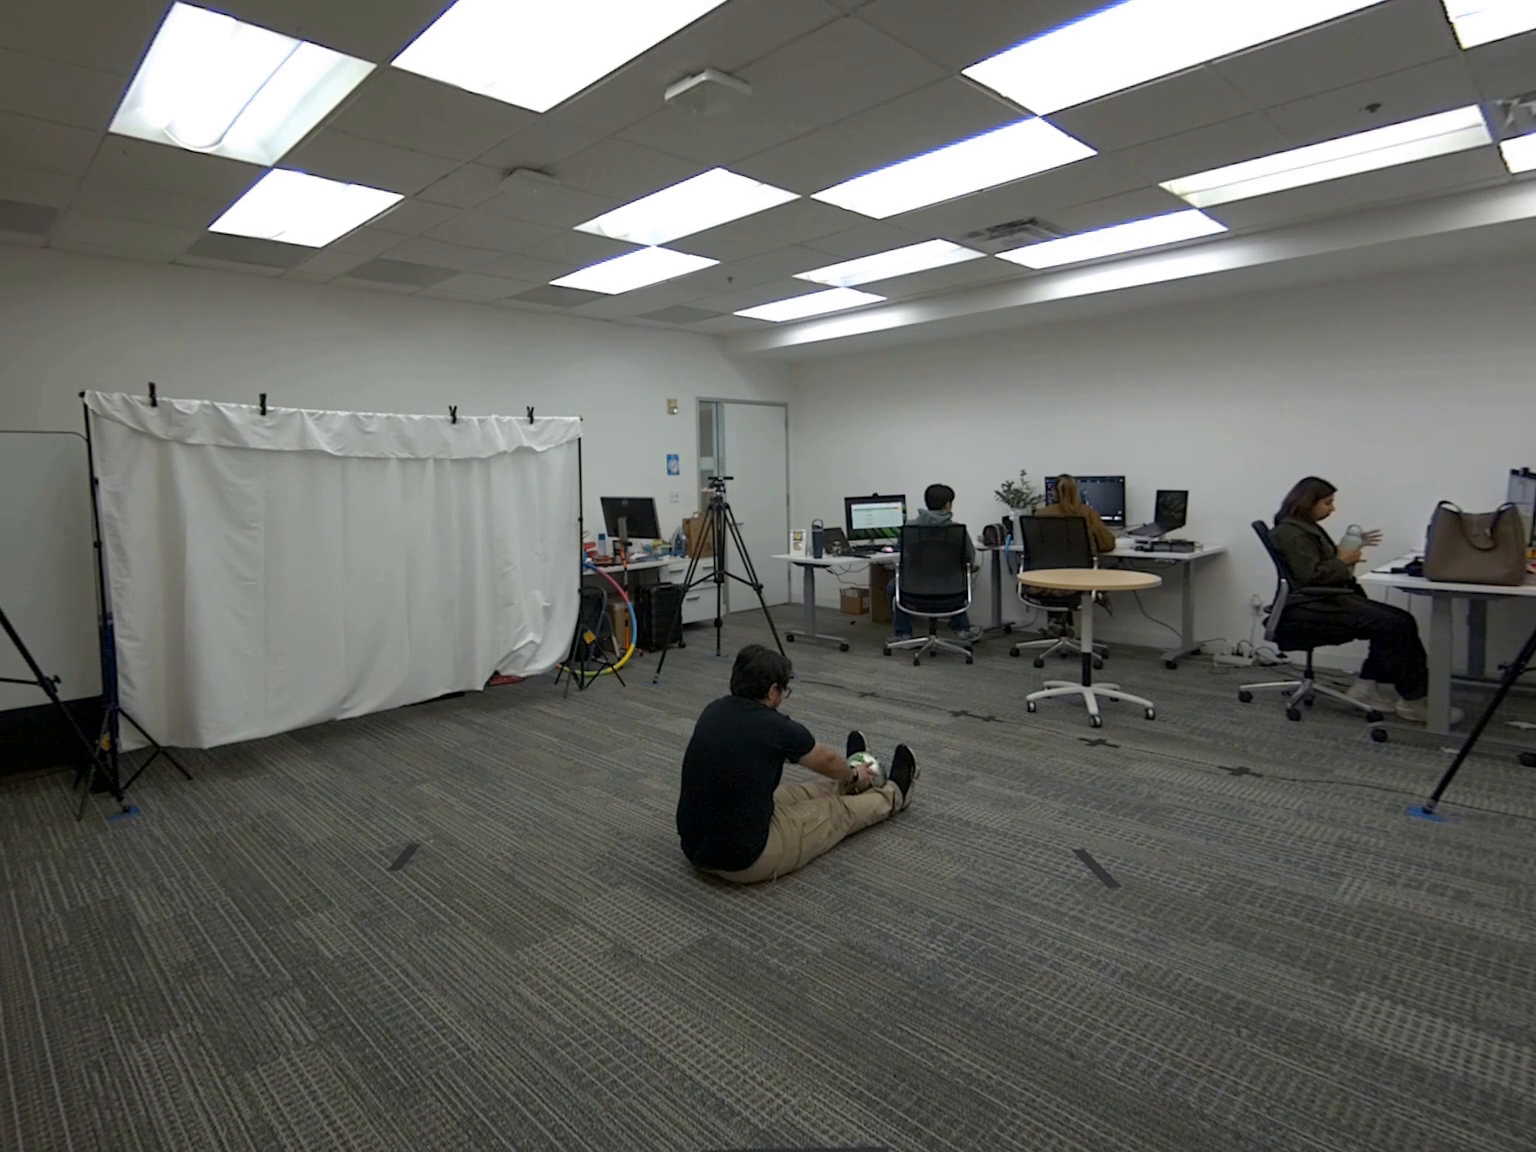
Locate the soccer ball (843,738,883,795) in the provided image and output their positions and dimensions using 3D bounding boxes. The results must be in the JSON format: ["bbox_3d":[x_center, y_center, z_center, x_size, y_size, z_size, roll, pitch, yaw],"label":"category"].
[{"bbox_3d":[0.402,0.833,3.573,0.187,0.187,0.188,-1,4,-2],"label":"soccer ball"}]
